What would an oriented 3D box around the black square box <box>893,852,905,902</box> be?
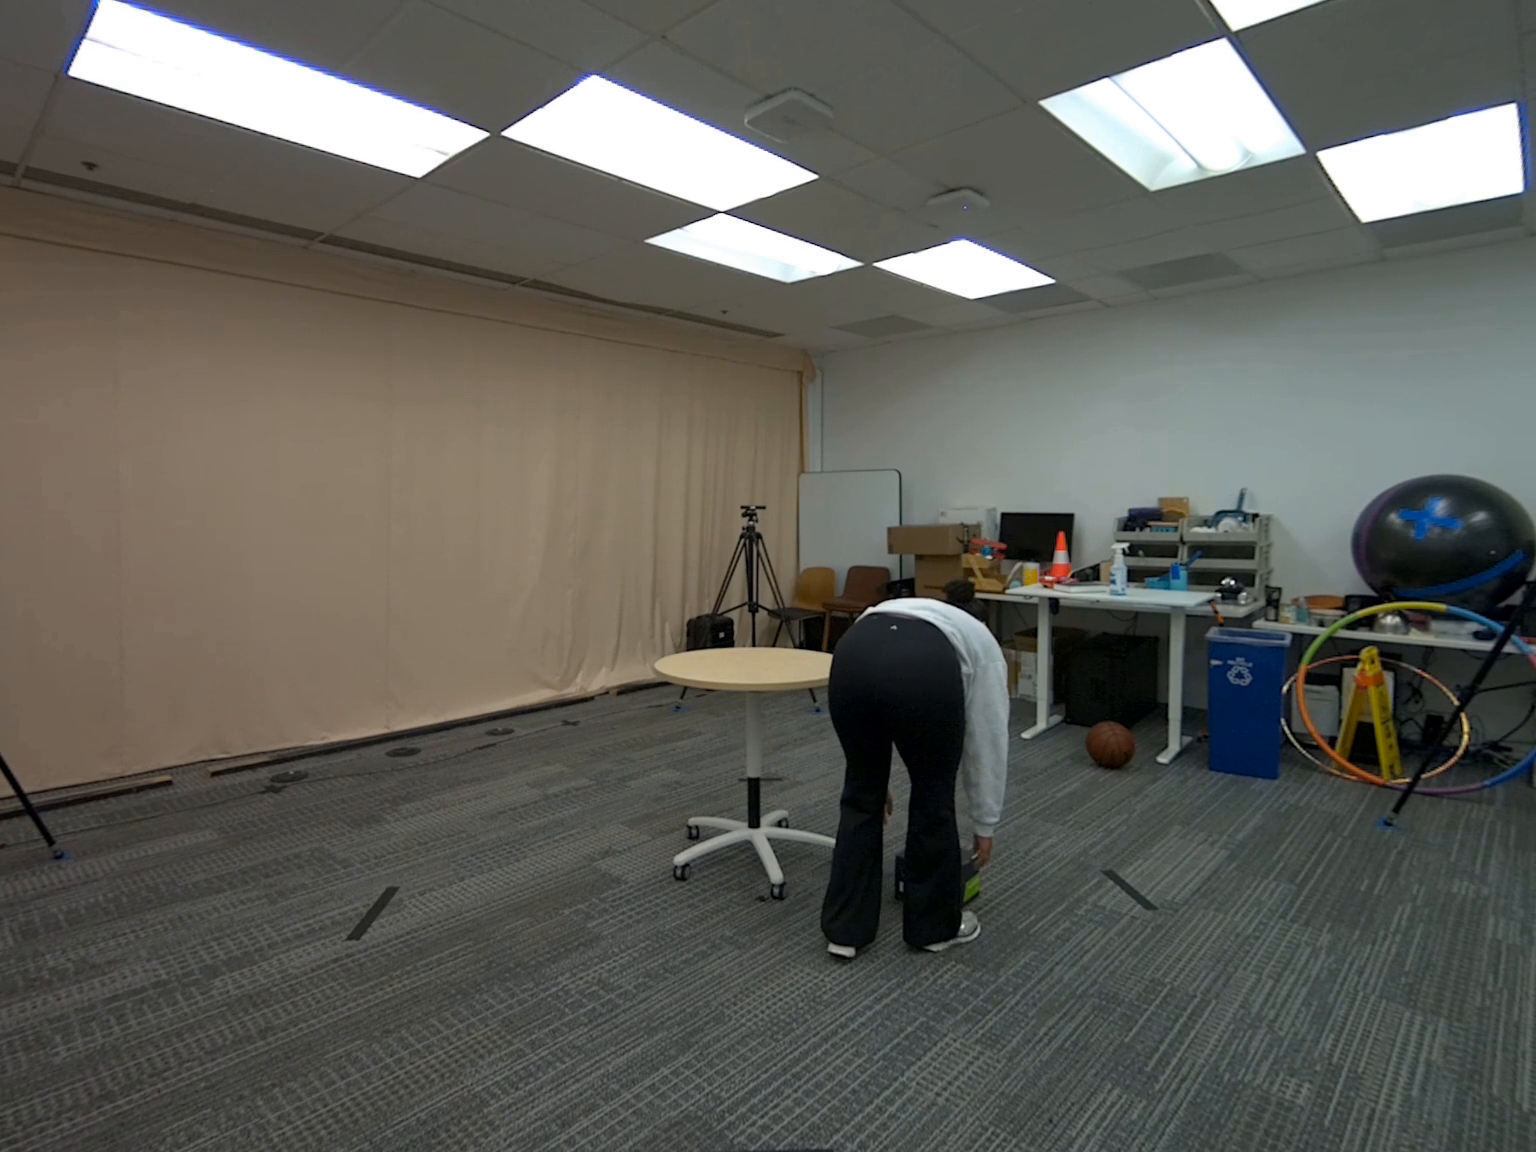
[{"bbox_3d":[0.608,1.059,2.982,0.224,0.155,0.221,4,5,41],"label":"black square box"}]
